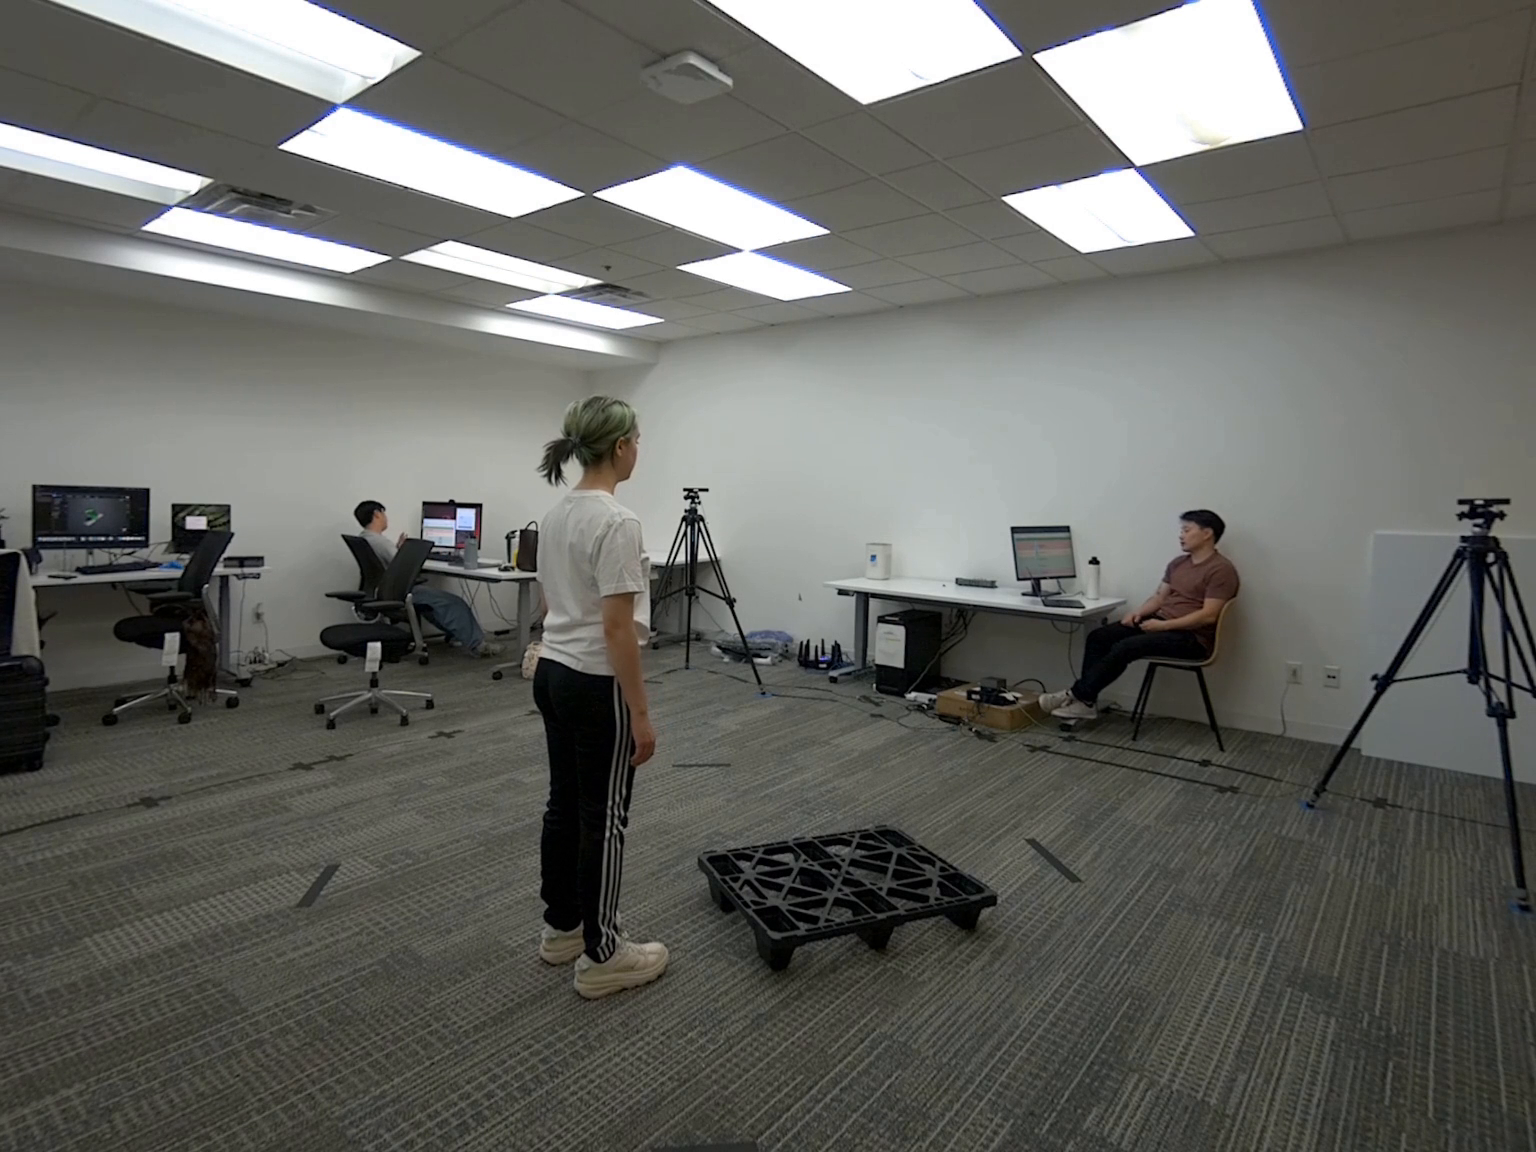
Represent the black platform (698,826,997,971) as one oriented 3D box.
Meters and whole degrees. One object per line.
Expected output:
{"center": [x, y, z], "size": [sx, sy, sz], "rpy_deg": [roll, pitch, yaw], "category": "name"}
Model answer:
{"center": [0.234, 1.041, 2.804], "size": [0.787, 0.143, 0.622], "rpy_deg": [-1, 7, -24], "category": "black platform"}
